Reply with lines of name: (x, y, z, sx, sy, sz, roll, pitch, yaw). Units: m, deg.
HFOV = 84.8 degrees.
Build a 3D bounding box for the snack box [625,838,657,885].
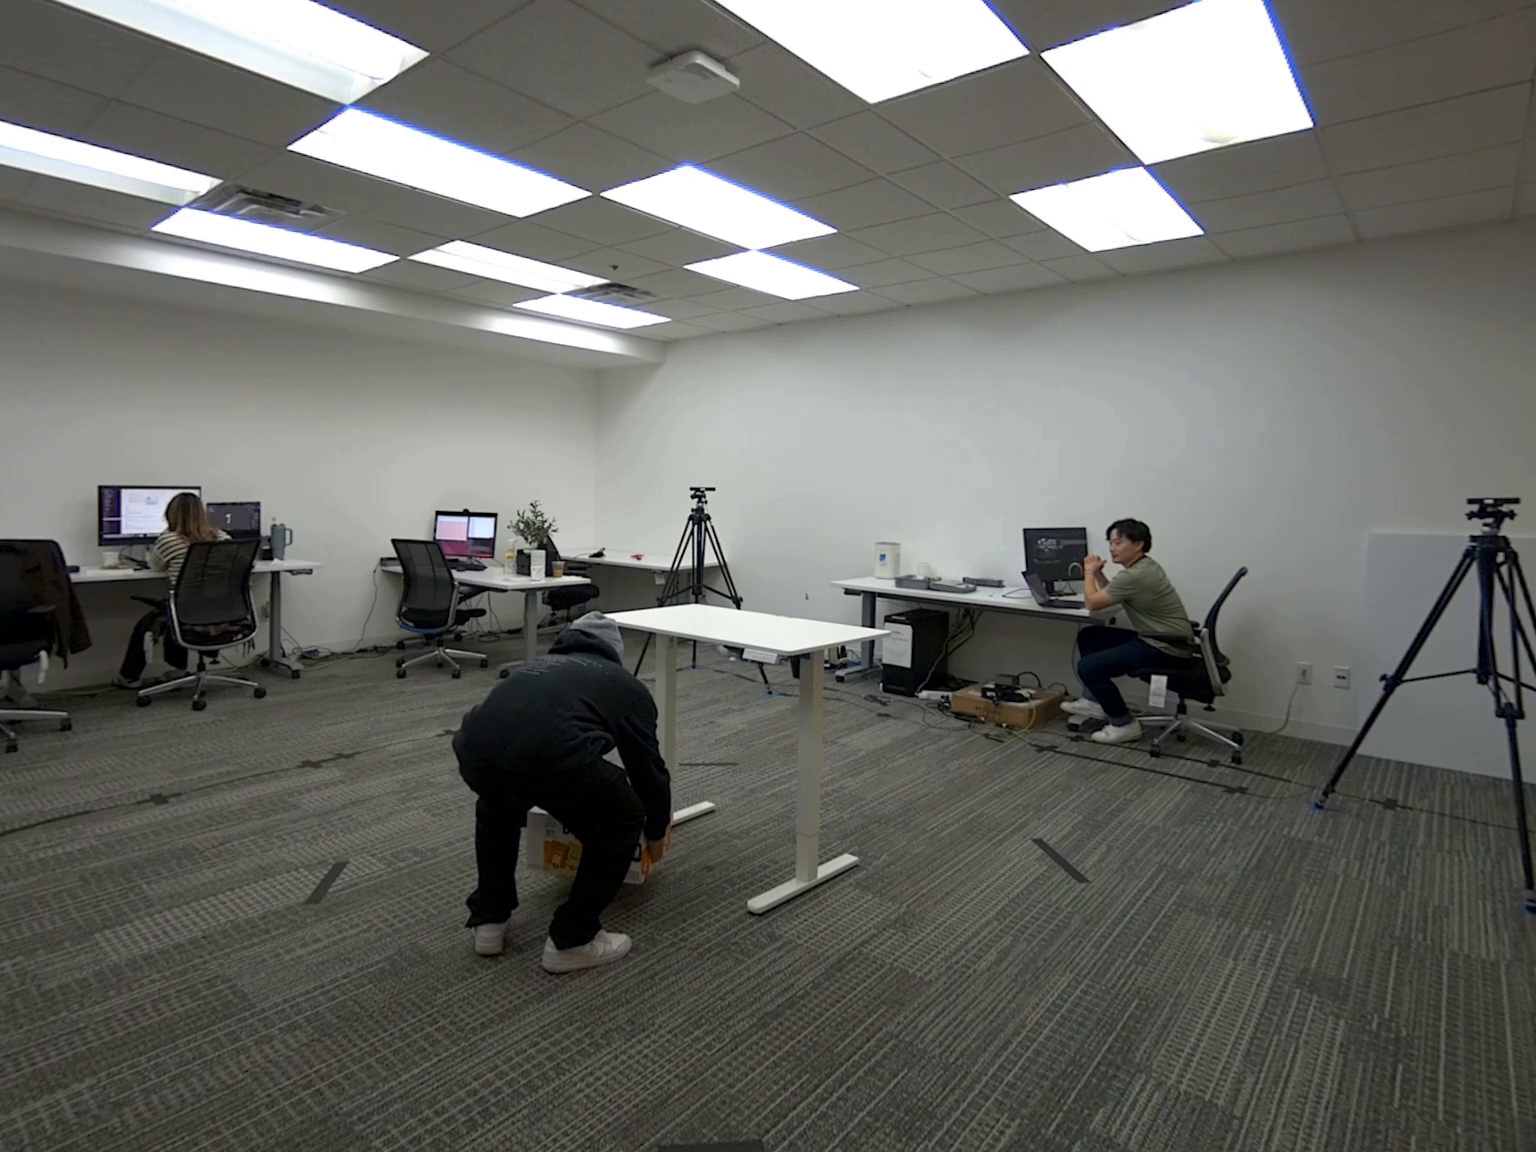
snack box: (-0.587, 0.883, 2.958, 0.410, 0.205, 0.336, 2, 2, 11)
